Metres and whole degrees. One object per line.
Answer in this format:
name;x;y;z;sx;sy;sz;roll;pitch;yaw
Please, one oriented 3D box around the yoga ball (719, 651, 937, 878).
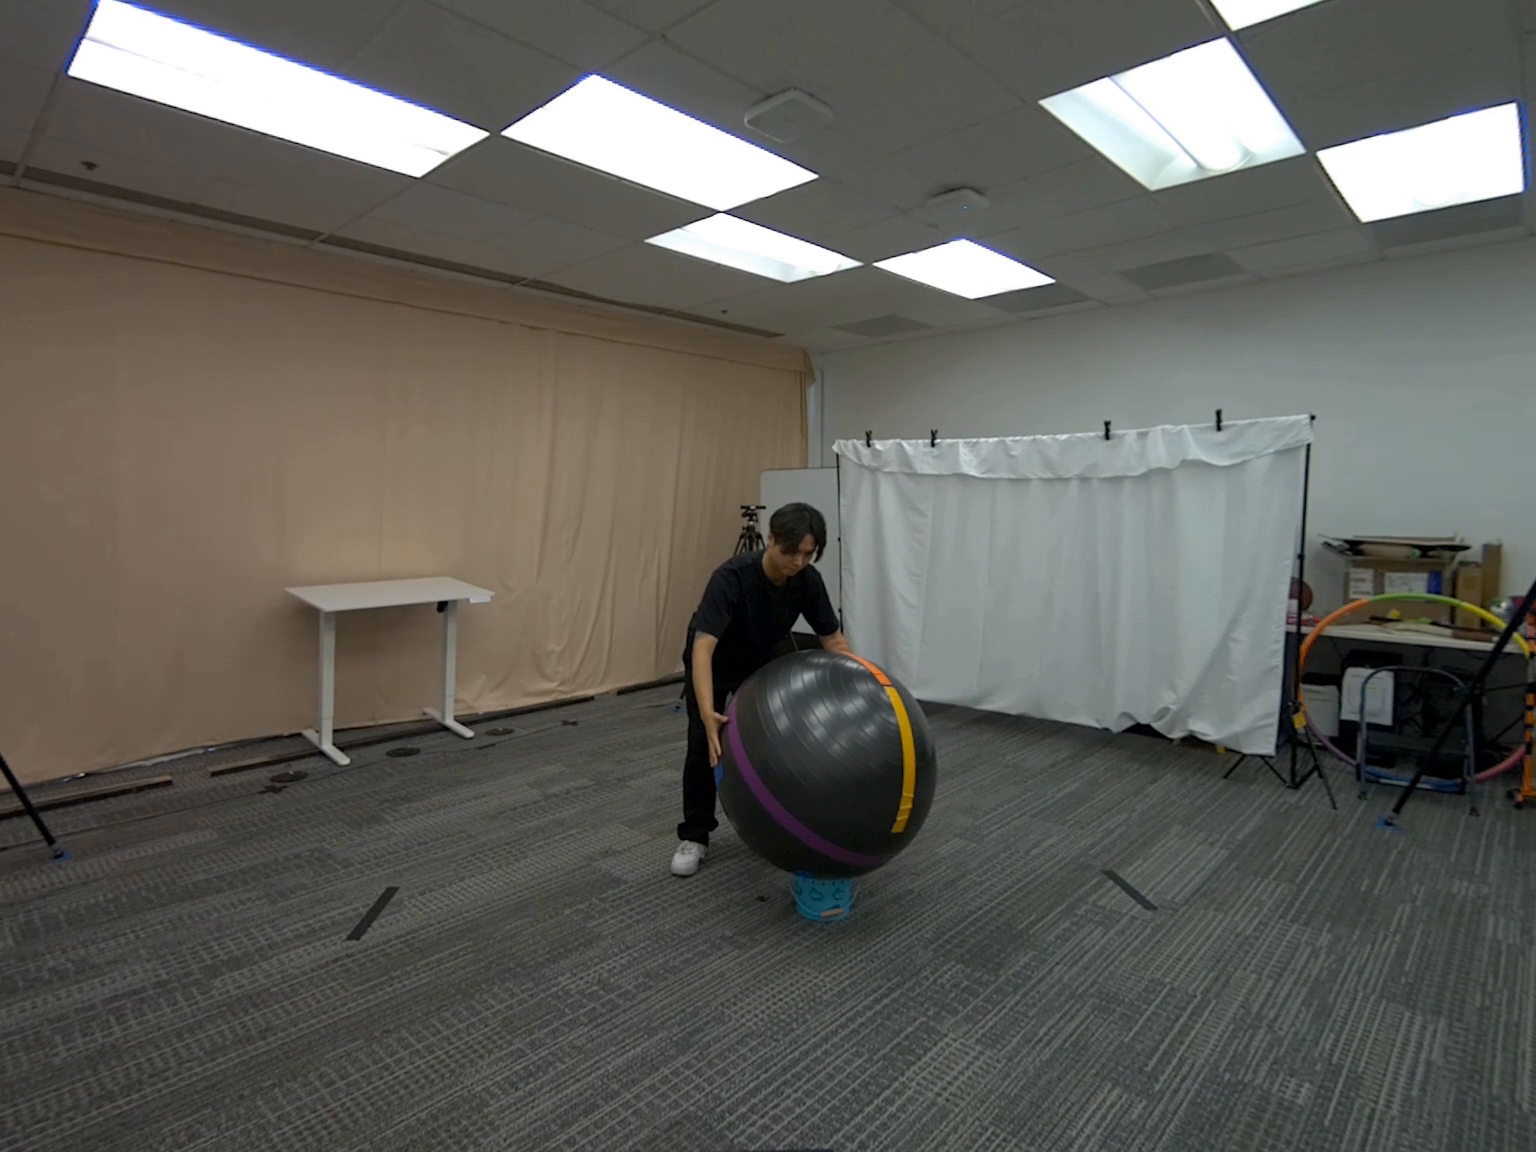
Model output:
yoga ball;0.199;0.639;2.894;0.757;0.756;0.760;0;4;-2
